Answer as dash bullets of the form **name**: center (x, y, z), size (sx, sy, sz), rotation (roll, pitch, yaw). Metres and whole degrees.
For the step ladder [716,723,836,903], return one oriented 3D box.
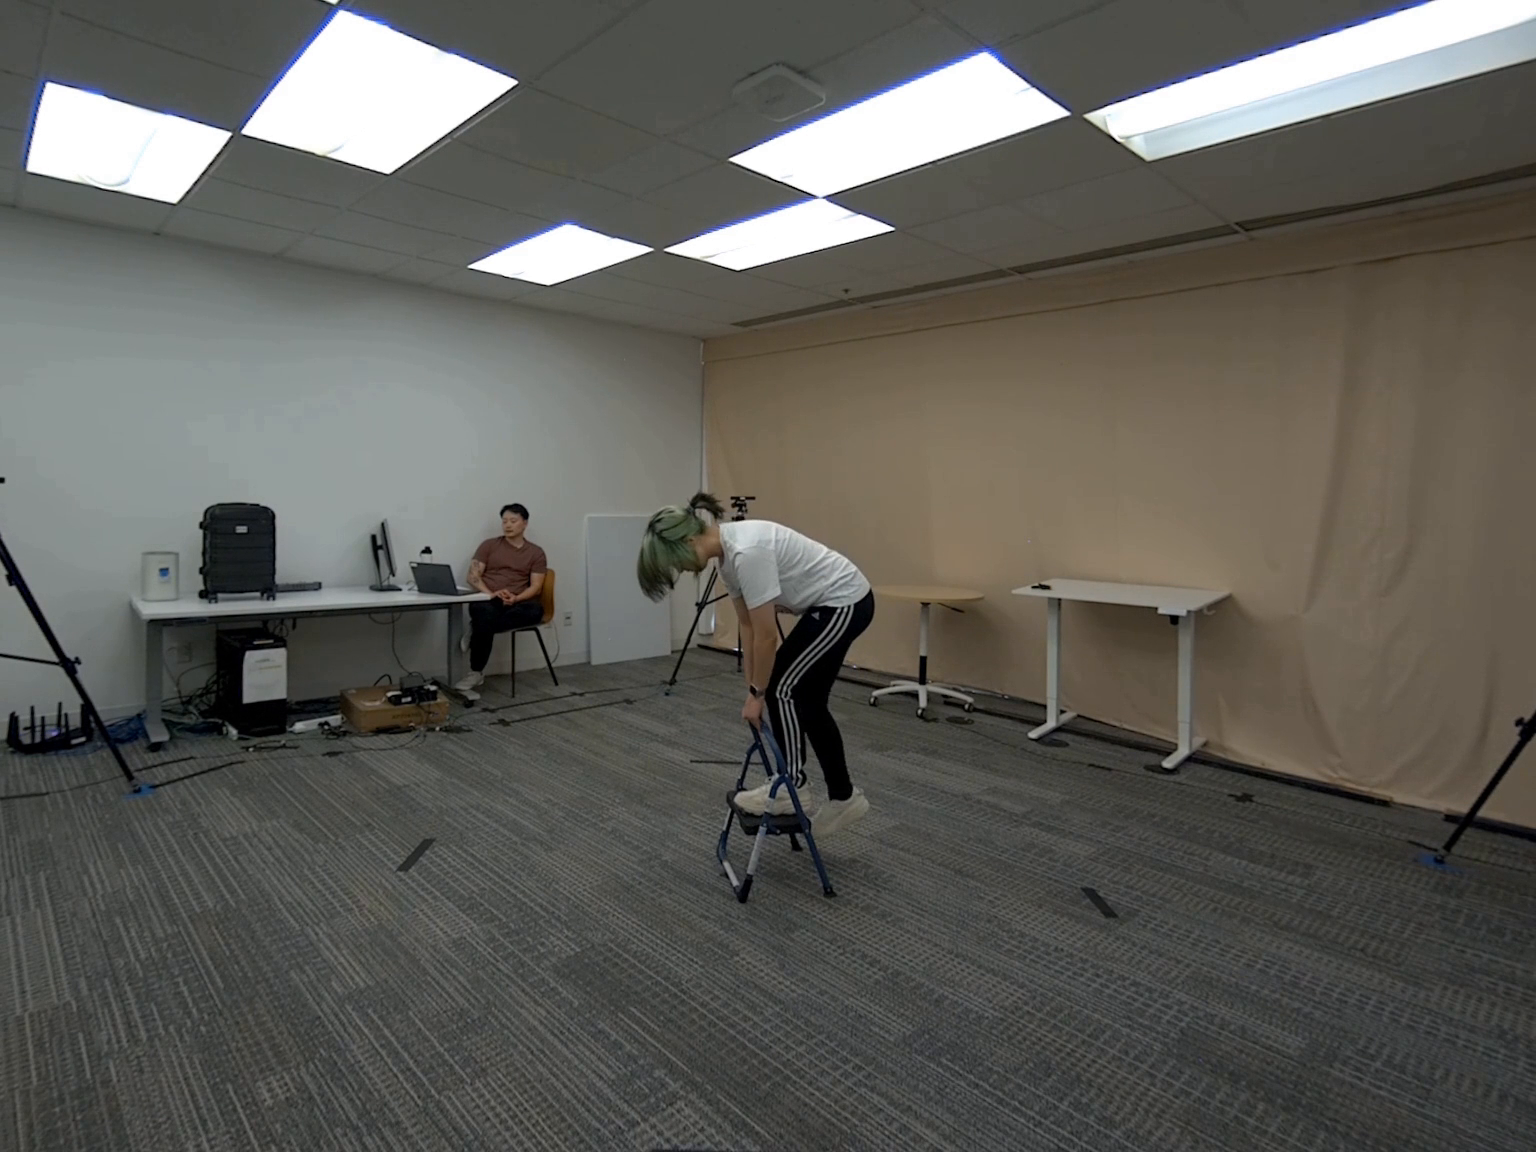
- **step ladder**: center (0.016, 0.812, 3.104), size (0.345, 0.605, 0.436), rotation (1, 3, -15)
